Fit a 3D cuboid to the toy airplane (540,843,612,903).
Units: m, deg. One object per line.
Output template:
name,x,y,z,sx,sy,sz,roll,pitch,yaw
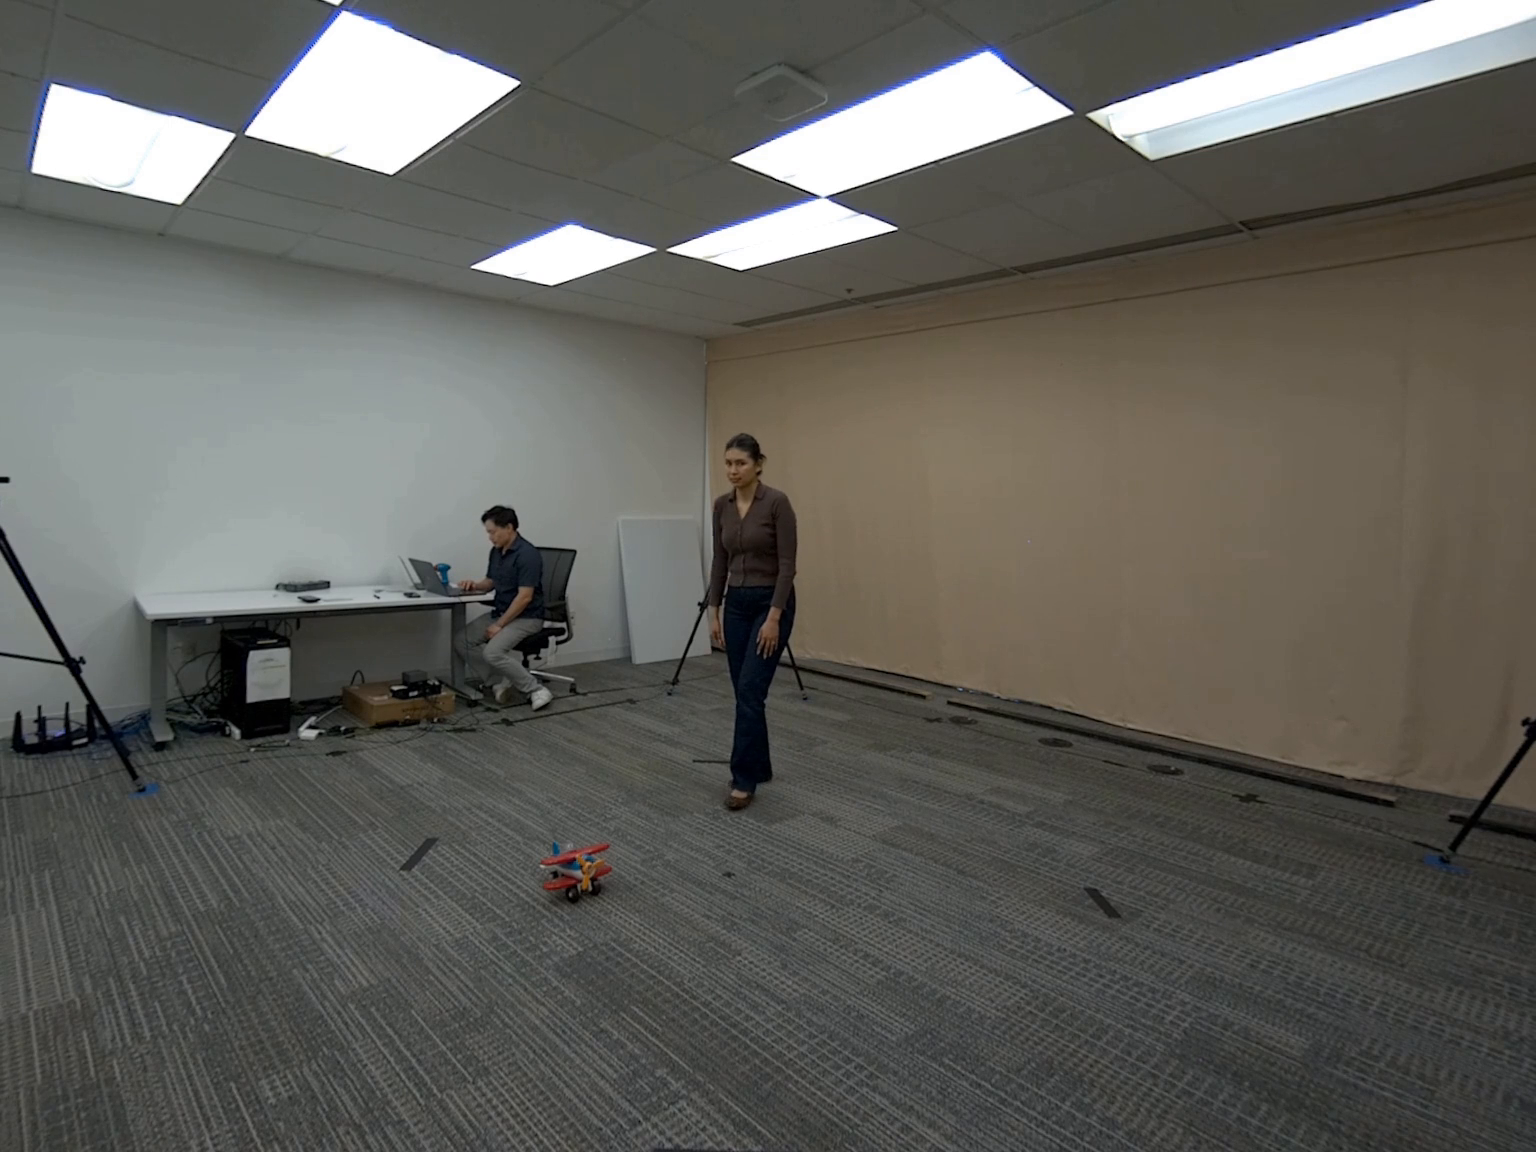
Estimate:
toy airplane,-0.710,1.031,2.947,0.264,0.156,0.248,5,7,21
